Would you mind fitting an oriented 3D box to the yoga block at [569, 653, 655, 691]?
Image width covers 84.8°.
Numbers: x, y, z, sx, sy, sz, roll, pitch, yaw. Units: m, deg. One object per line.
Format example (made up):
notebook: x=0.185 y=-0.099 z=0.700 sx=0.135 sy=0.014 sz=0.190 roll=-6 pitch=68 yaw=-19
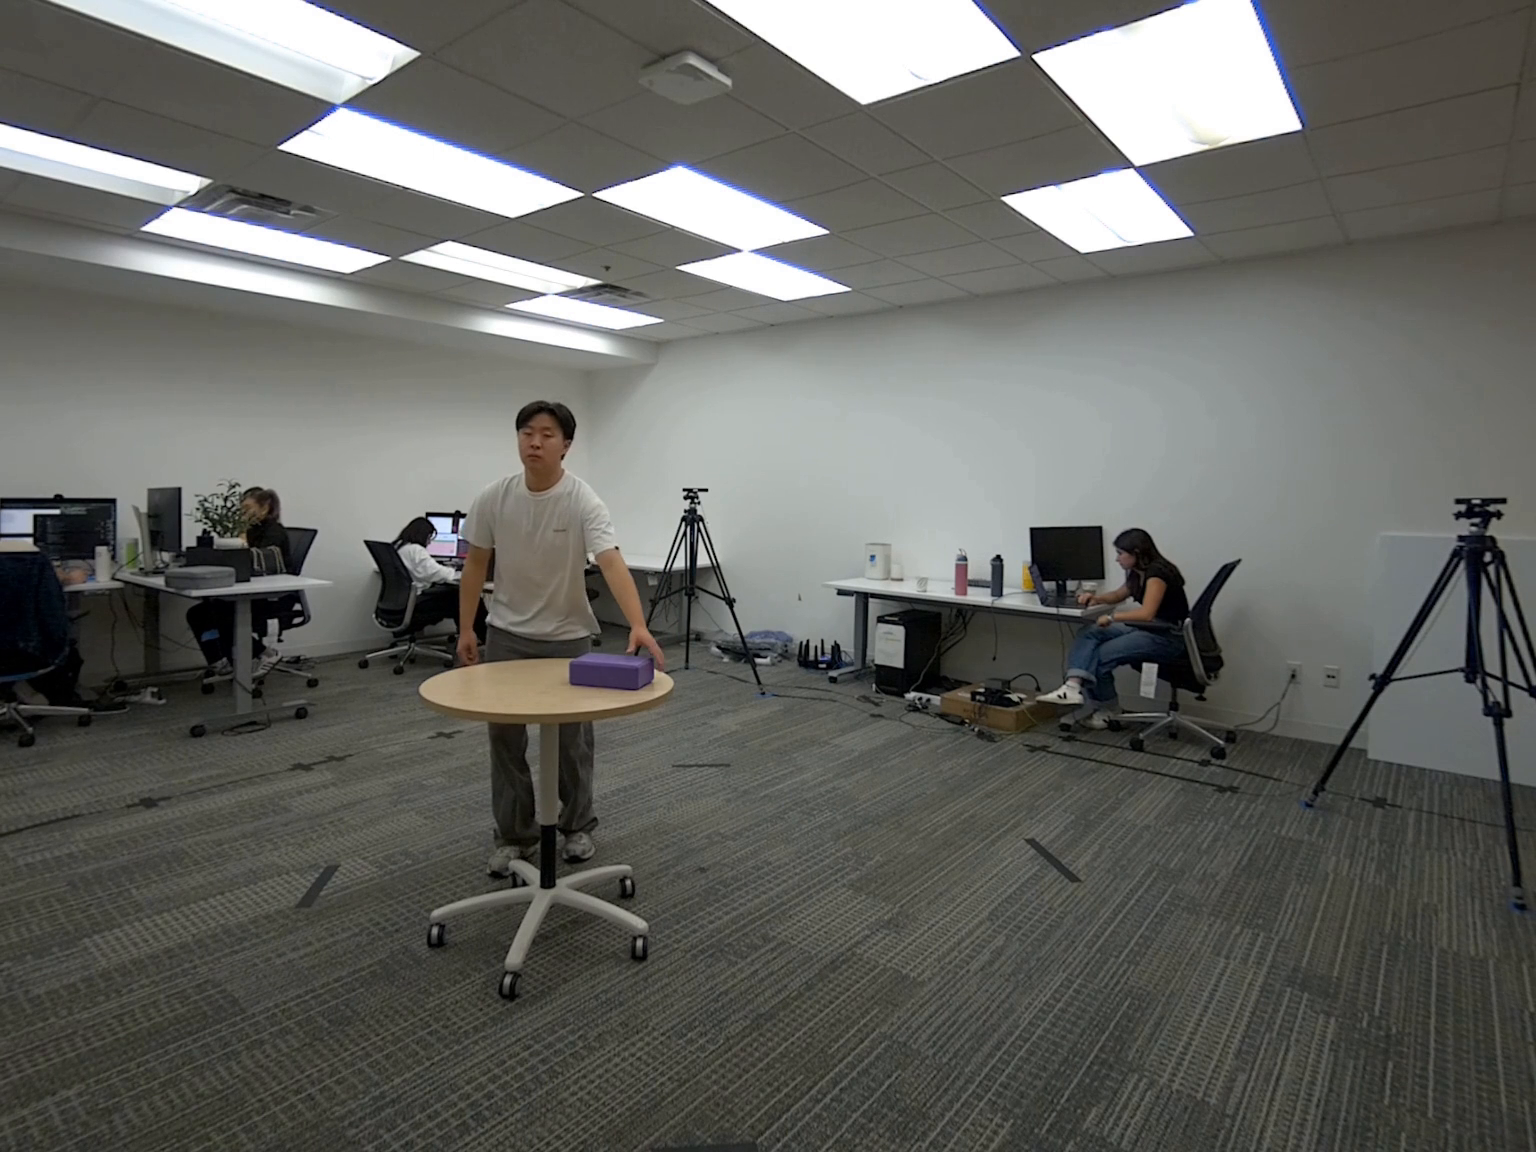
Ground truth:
yoga block: x=-0.490 y=0.289 z=2.635 sx=0.233 sy=0.076 sz=0.147 roll=2 pitch=4 yaw=13
